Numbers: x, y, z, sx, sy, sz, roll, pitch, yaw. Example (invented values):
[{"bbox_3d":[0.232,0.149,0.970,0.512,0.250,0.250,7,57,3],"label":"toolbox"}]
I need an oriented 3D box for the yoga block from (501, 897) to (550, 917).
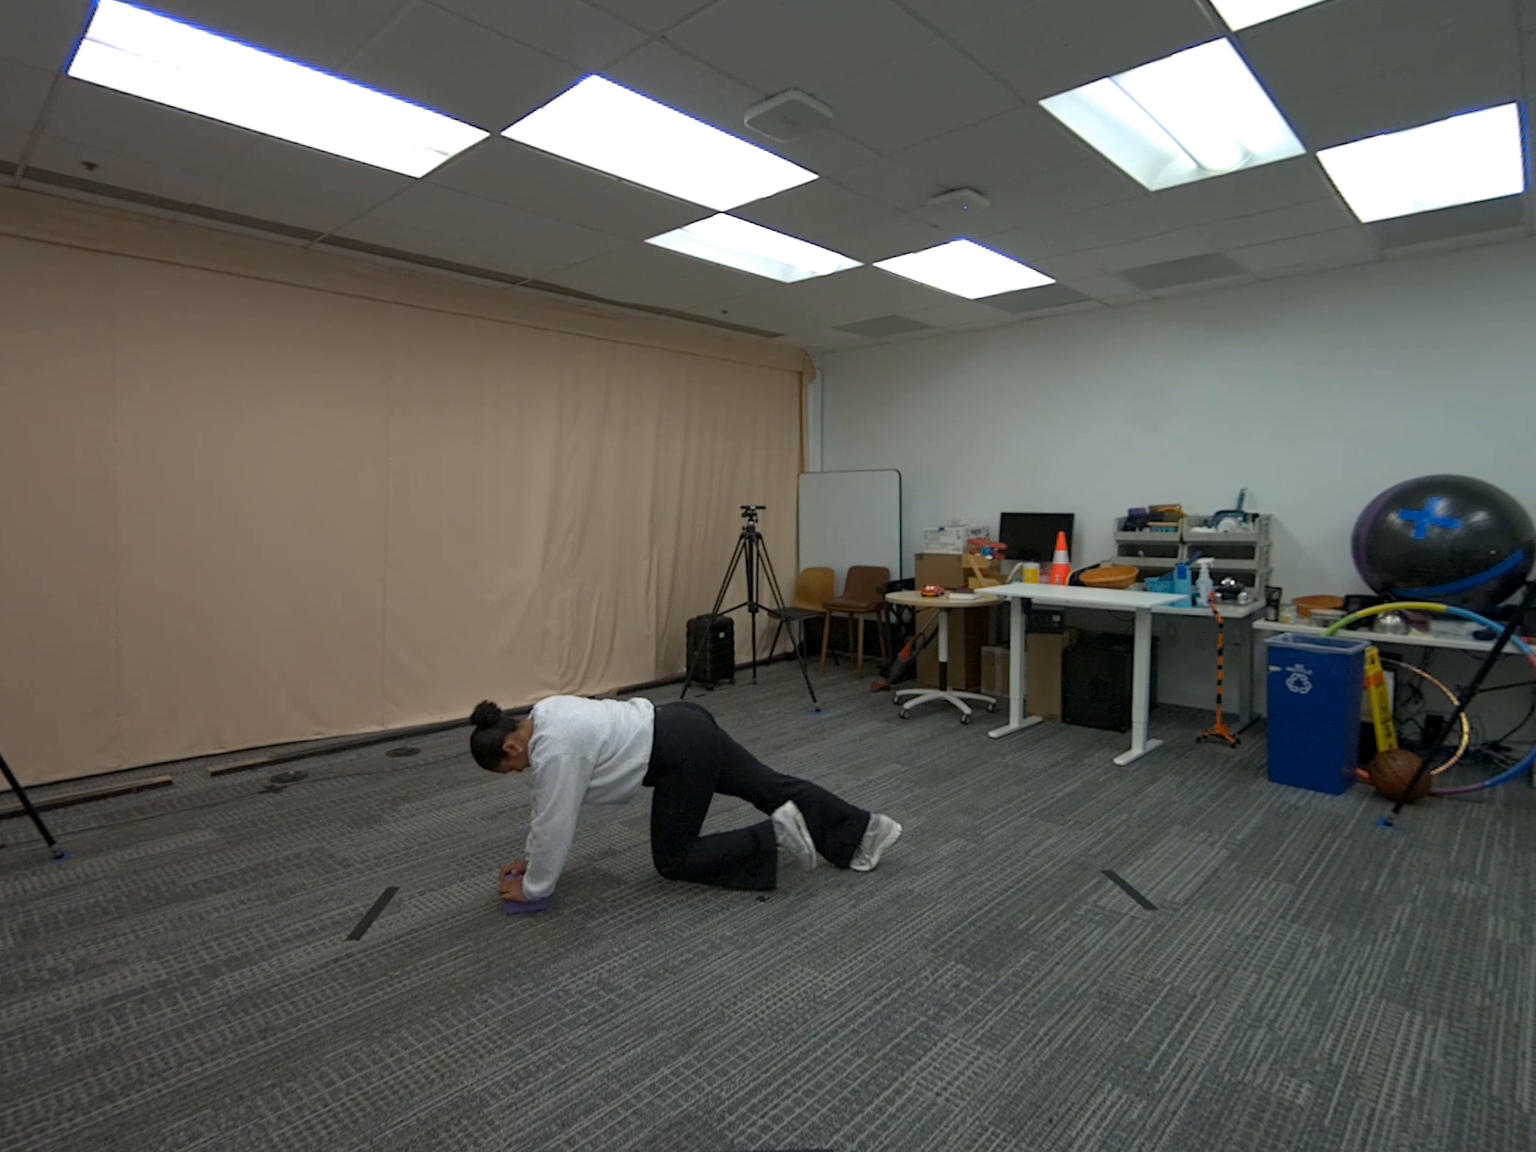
[{"bbox_3d":[-0.868,1.124,3.000,0.146,0.076,0.234,-3,5,-17],"label":"yoga block"}]
